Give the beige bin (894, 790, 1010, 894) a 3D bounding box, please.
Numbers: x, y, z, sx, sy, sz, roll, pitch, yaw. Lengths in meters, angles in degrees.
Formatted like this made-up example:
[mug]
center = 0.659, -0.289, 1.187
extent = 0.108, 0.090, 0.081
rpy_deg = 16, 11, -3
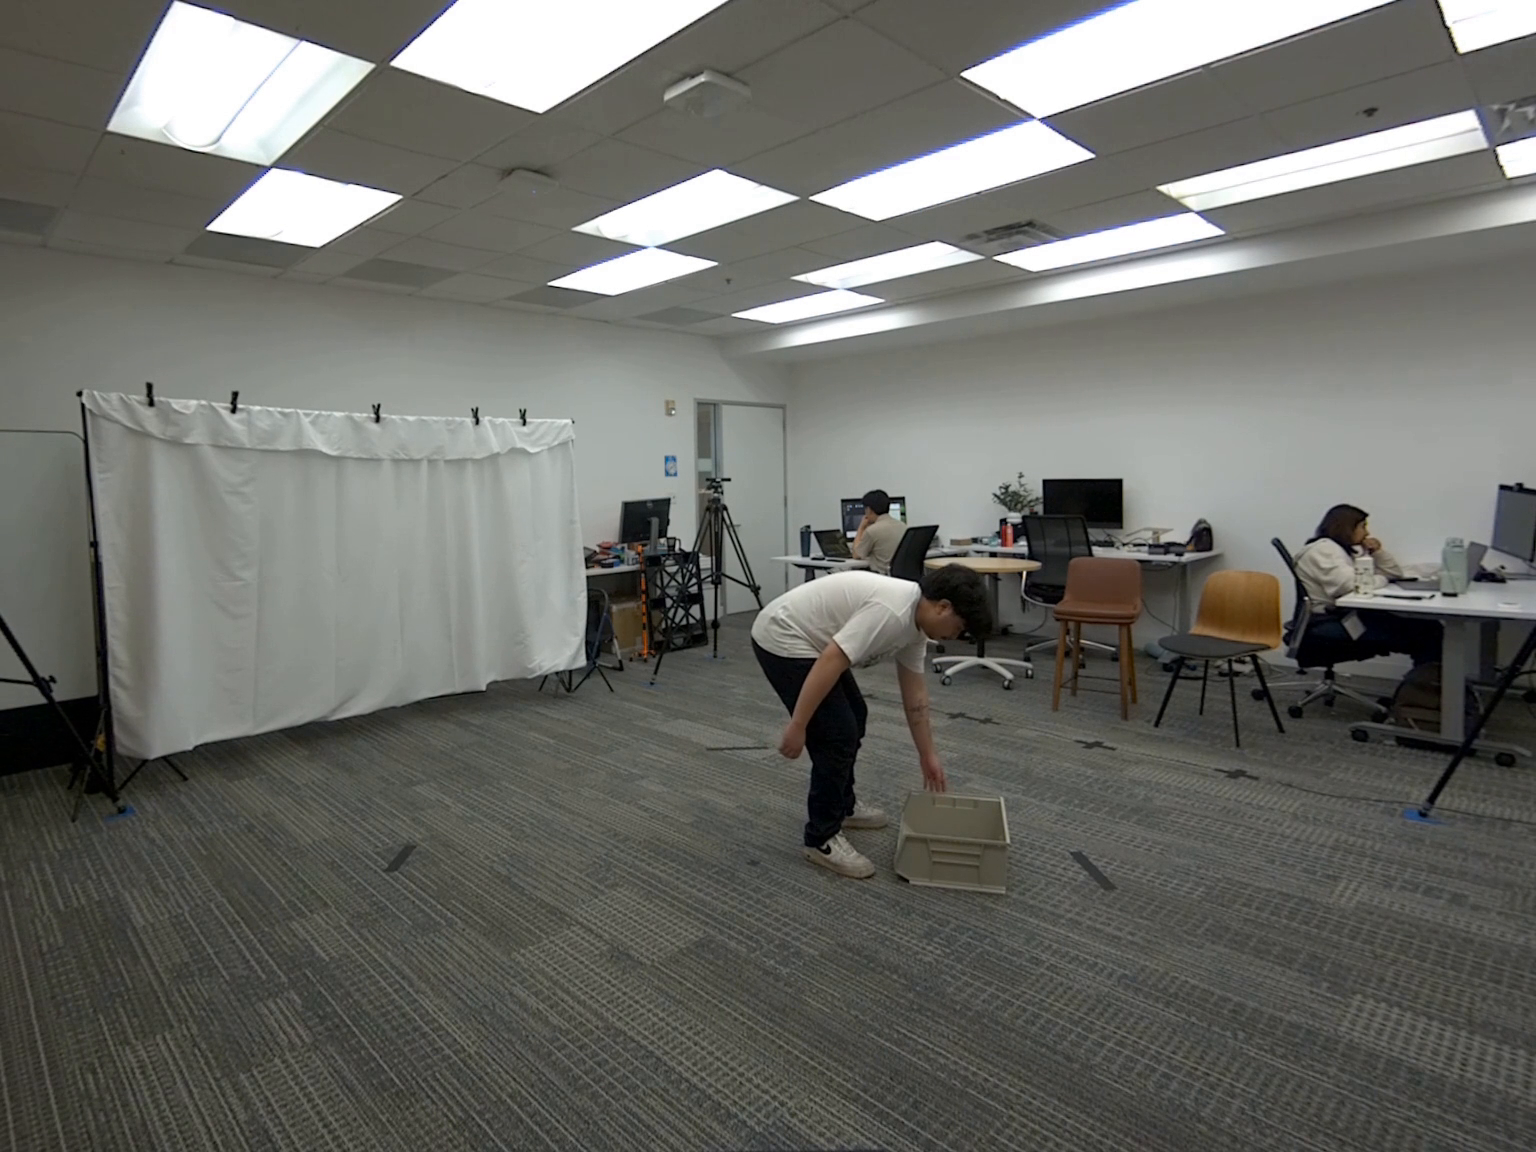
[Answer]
[beige bin]
center = 0.657, 0.942, 3.076
extent = 0.383, 0.188, 0.418
rpy_deg = 1, 6, 13
